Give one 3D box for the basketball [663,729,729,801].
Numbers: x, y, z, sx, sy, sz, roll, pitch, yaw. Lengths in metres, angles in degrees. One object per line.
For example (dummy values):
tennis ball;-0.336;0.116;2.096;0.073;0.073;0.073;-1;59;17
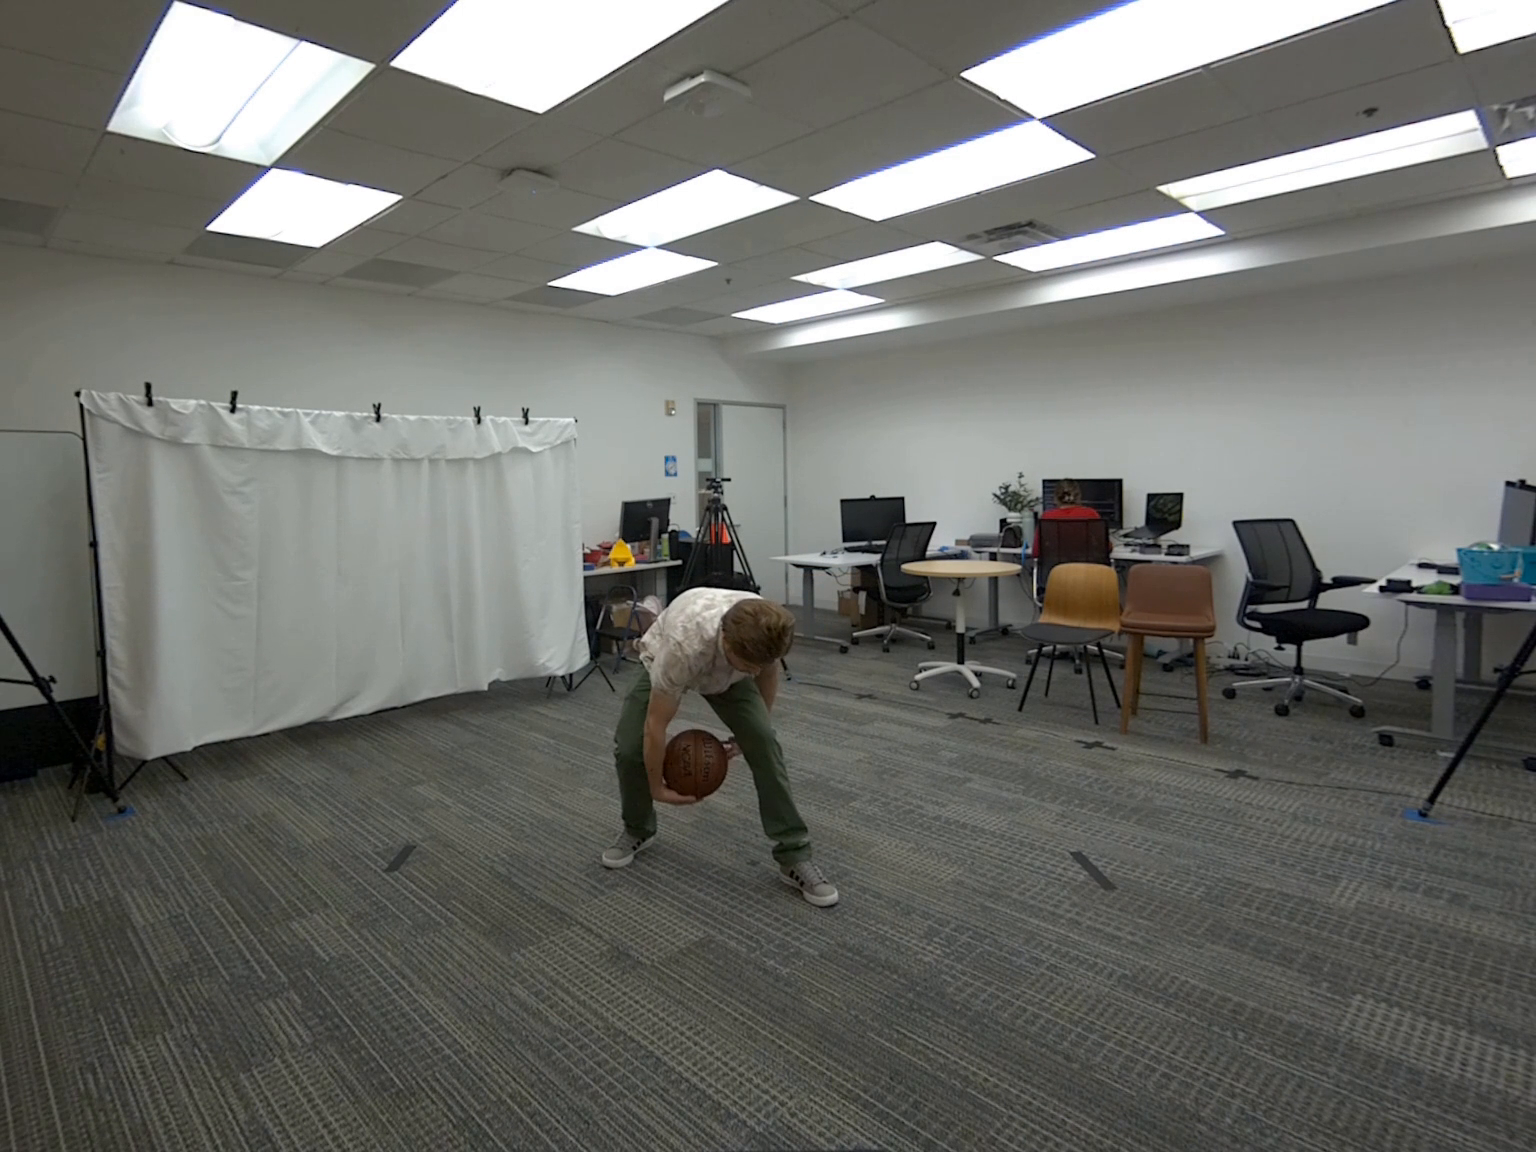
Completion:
basketball;-0.247;0.652;3.024;0.236;0.235;0.237;-1;5;-2
